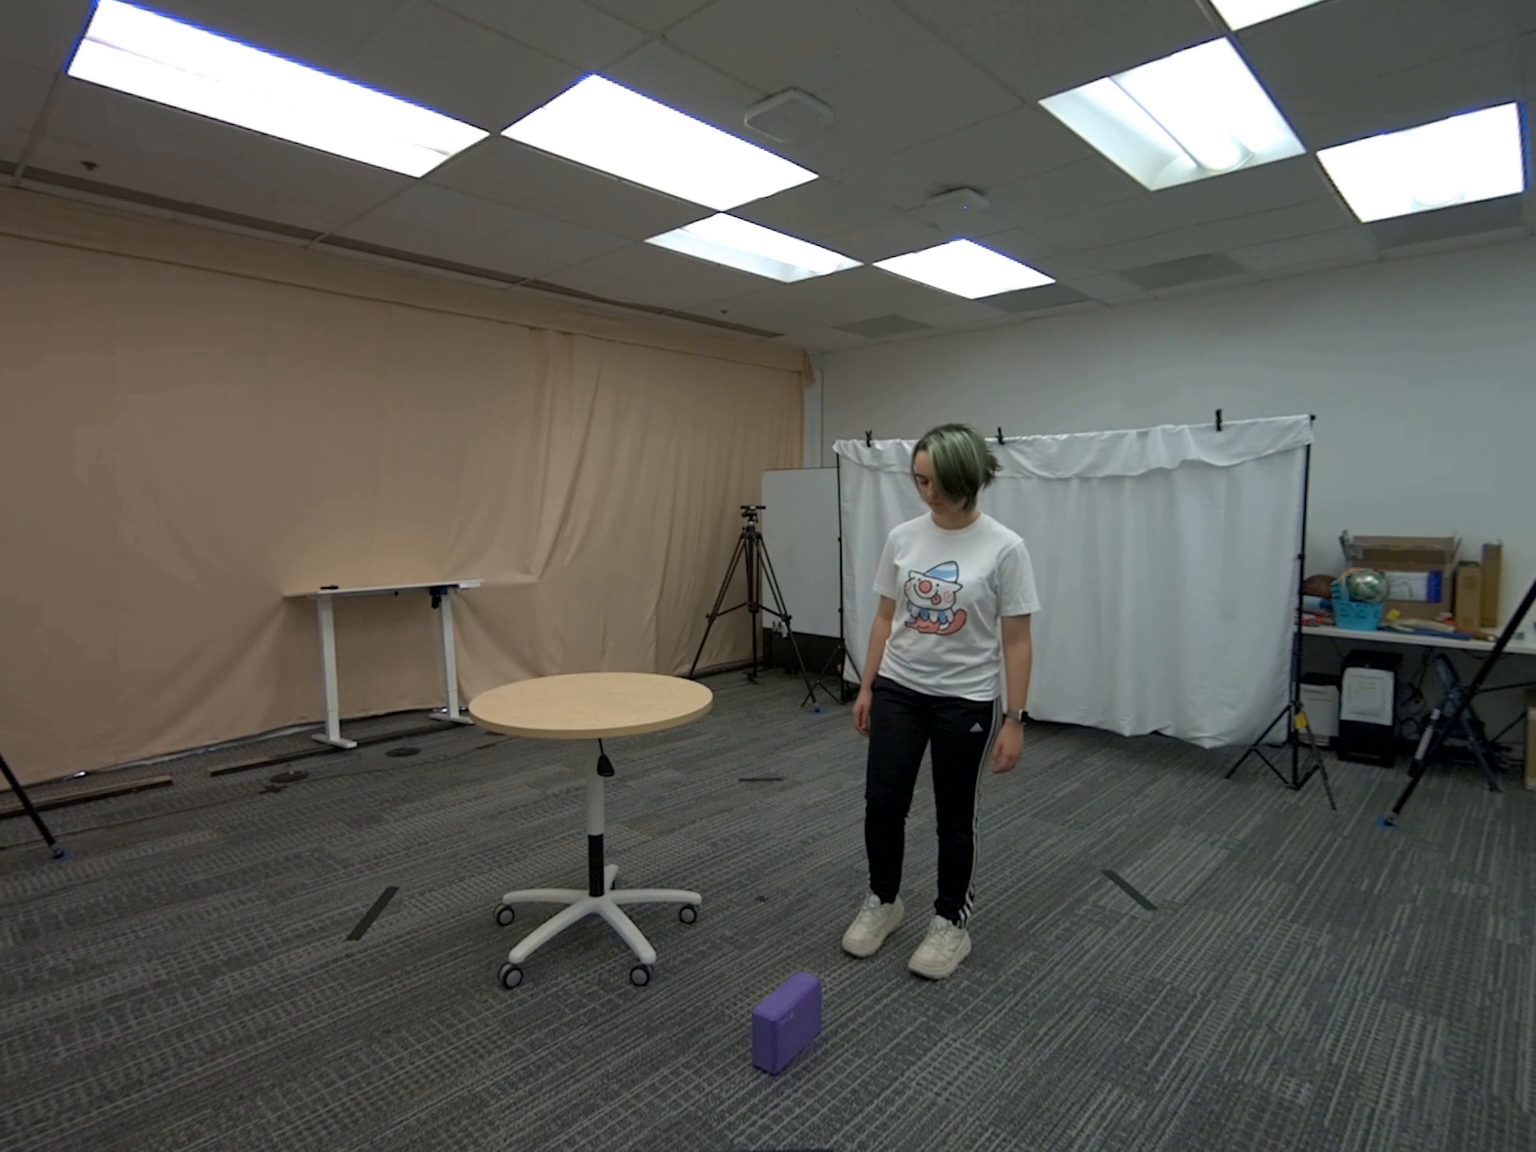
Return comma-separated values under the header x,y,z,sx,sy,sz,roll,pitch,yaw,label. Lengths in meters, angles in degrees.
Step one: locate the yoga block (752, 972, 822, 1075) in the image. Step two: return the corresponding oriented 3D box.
x,y,z,sx,sy,sz,roll,pitch,yaw,label
0.055,1.140,2.147,0.079,0.148,0.223,2,6,36,yoga block
